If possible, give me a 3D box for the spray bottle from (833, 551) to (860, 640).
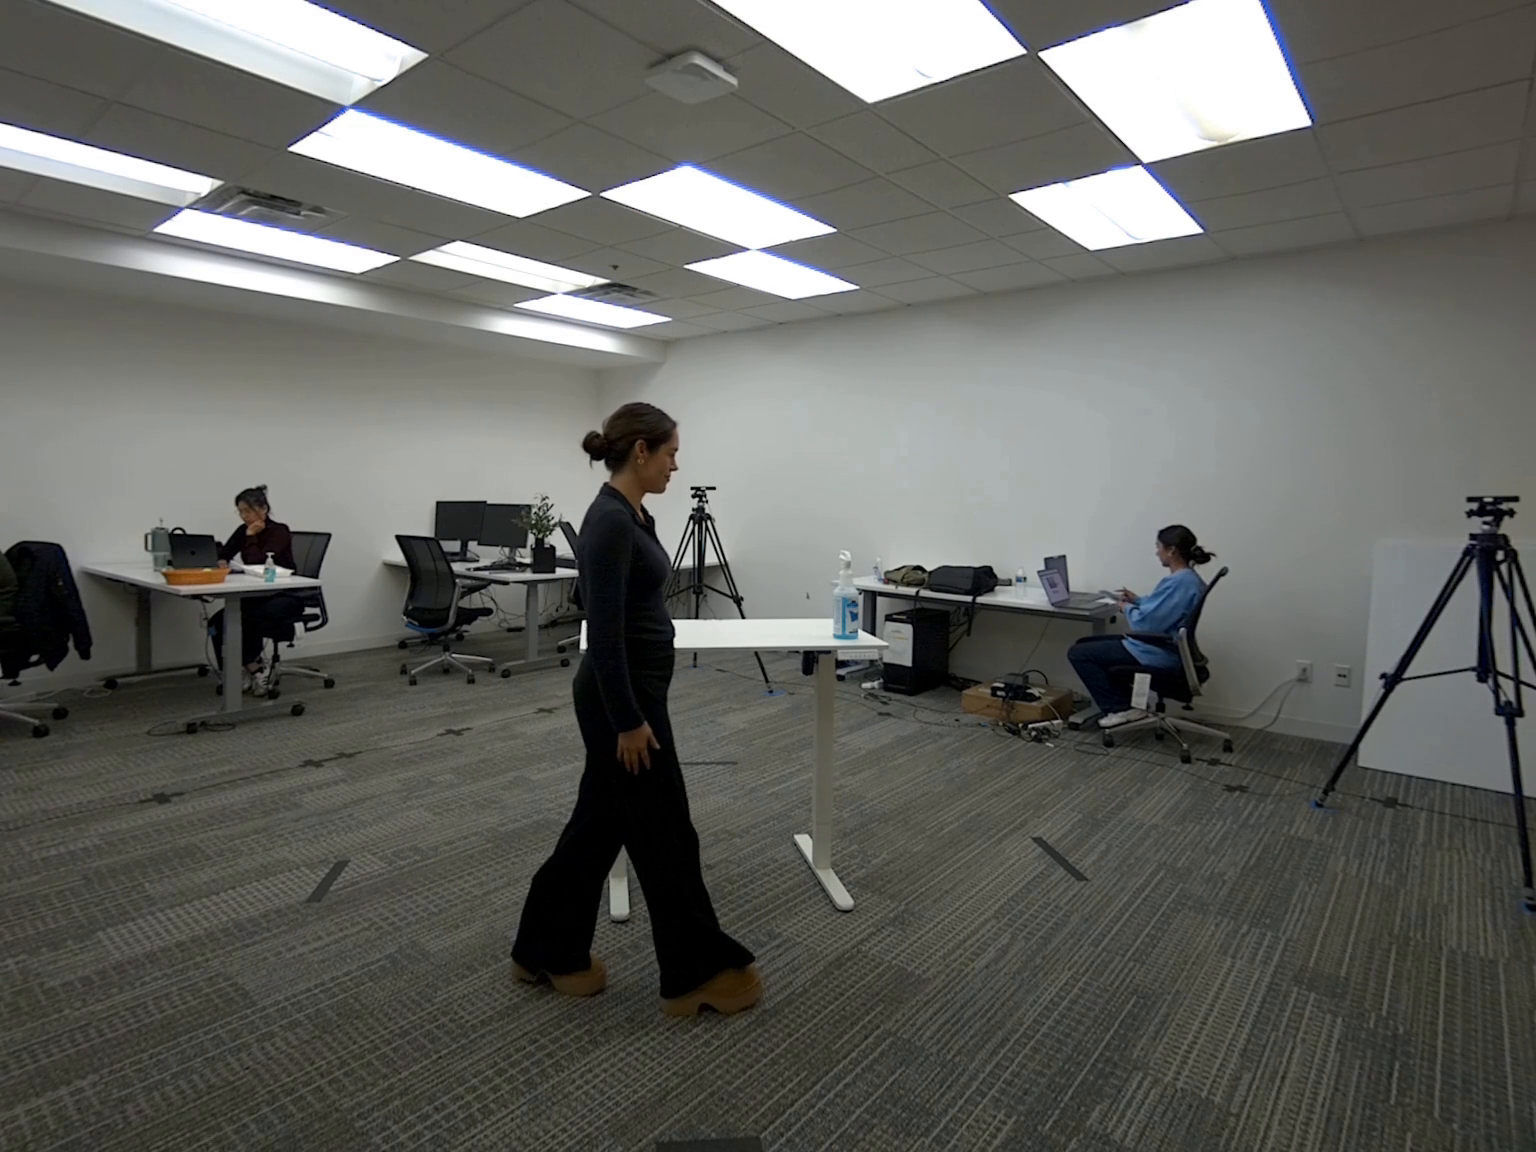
[{"bbox_3d":[0.260,0.067,2.902,0.088,0.297,0.089,1,2,14],"label":"spray bottle"}]
